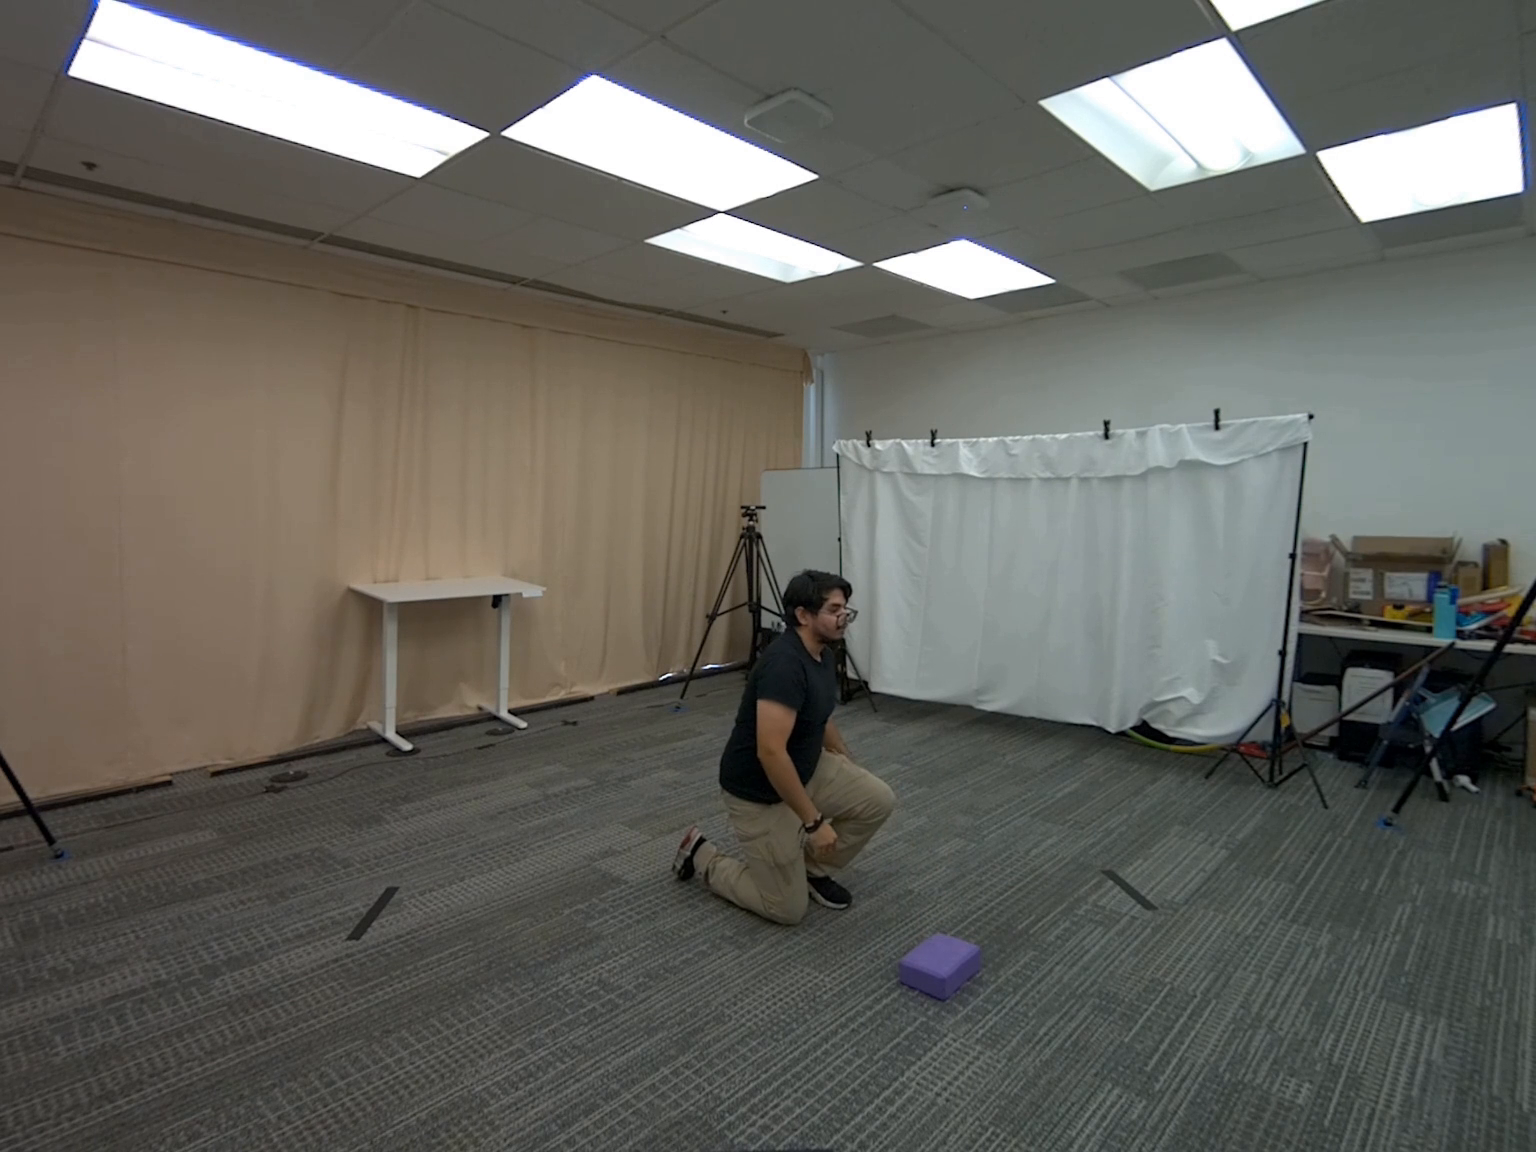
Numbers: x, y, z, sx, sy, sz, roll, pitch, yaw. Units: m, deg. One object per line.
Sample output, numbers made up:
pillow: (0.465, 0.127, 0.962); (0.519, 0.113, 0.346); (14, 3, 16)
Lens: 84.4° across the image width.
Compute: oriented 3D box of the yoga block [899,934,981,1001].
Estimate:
yoga block: (0.515, 1.147, 2.484); (0.154, 0.076, 0.222); (3, 6, 41)
